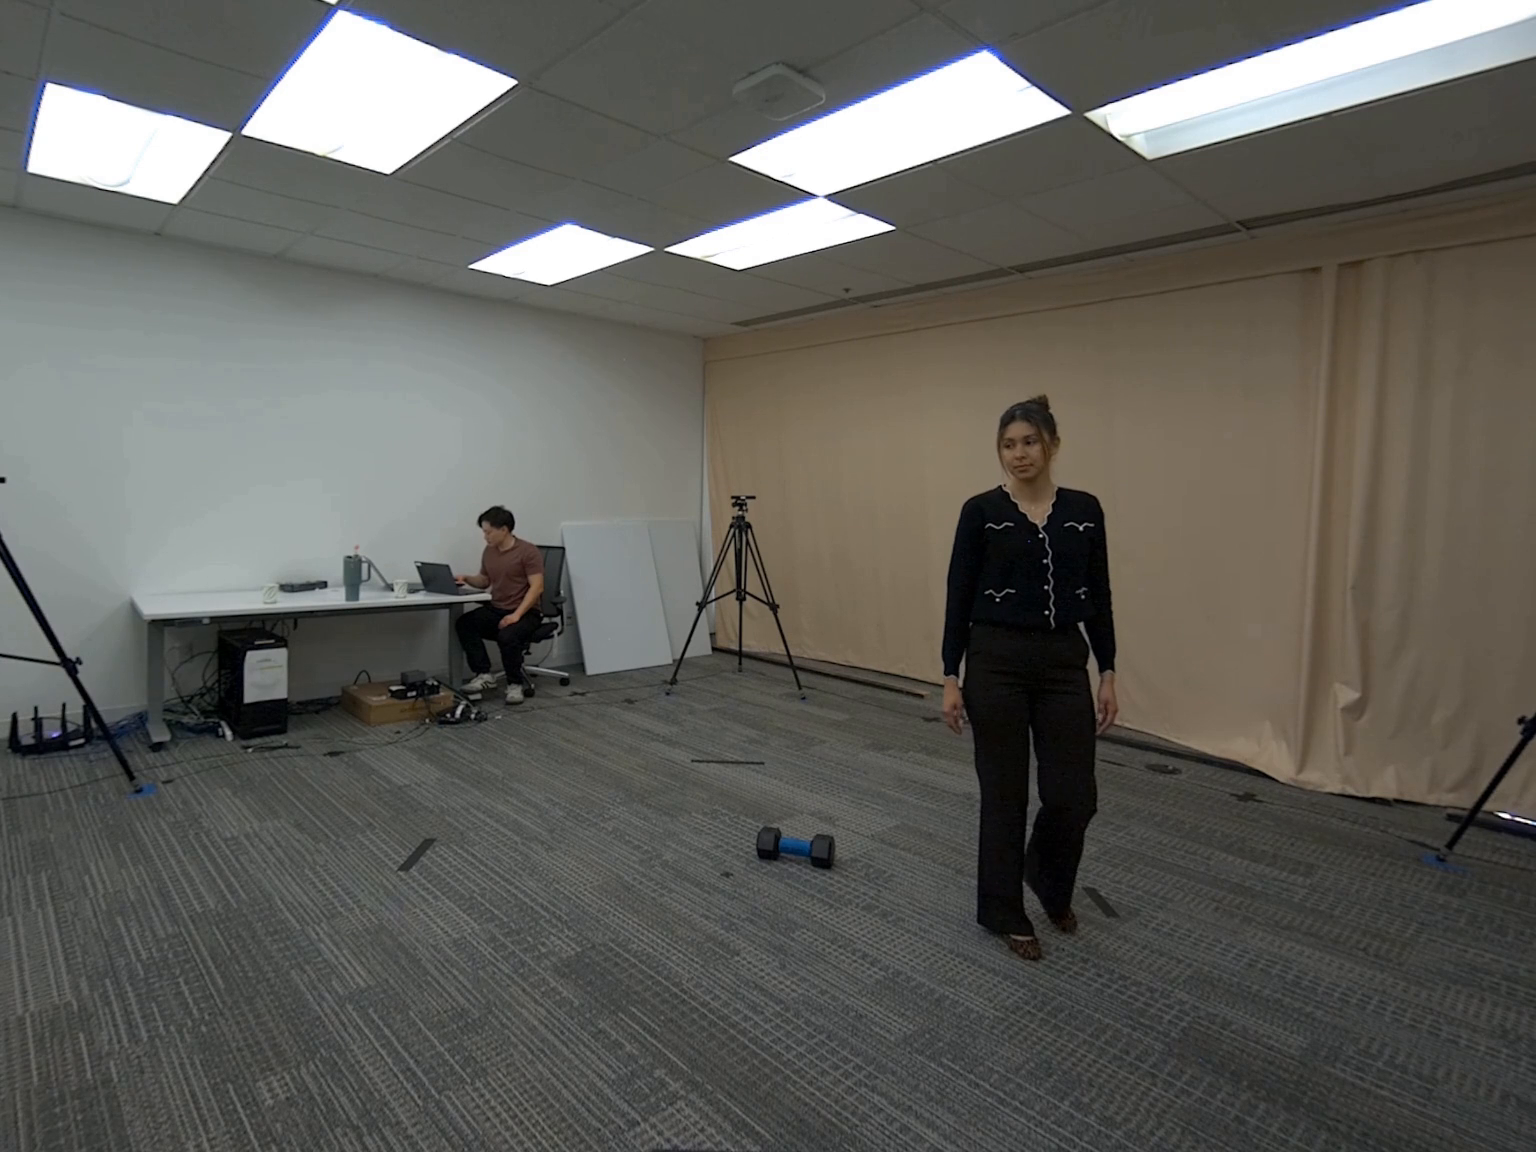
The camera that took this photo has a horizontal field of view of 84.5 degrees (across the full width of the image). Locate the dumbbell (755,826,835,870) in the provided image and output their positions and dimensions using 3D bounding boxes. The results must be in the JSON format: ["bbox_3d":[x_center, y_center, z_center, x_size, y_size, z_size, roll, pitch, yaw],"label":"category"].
[{"bbox_3d":[0.100,1.040,3.234,0.298,0.120,0.110,2,35,18],"label":"dumbbell"}]
